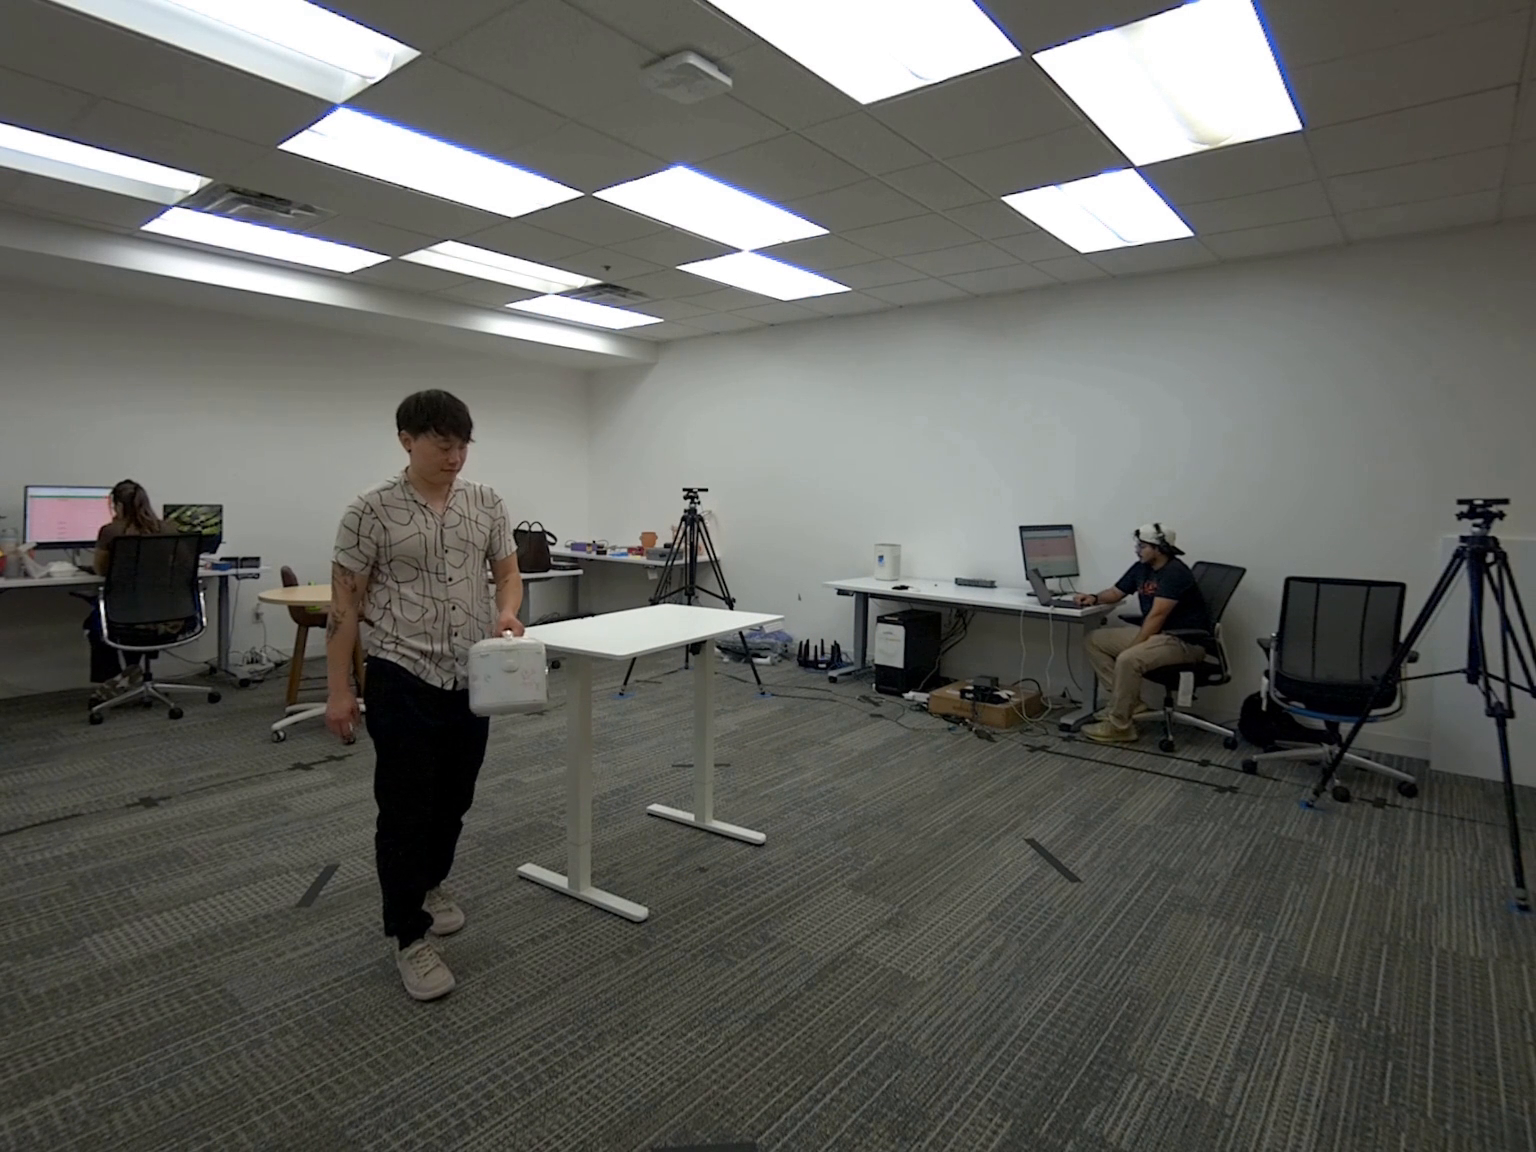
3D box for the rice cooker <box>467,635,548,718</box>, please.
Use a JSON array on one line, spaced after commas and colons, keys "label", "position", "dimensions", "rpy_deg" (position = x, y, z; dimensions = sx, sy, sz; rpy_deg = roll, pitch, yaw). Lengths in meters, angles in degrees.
[{"label": "rice cooker", "position": [-0.745, 0.270, 2.382], "dimensions": [0.213, 0.235, 0.222], "rpy_deg": [-1, -10, -19]}]
